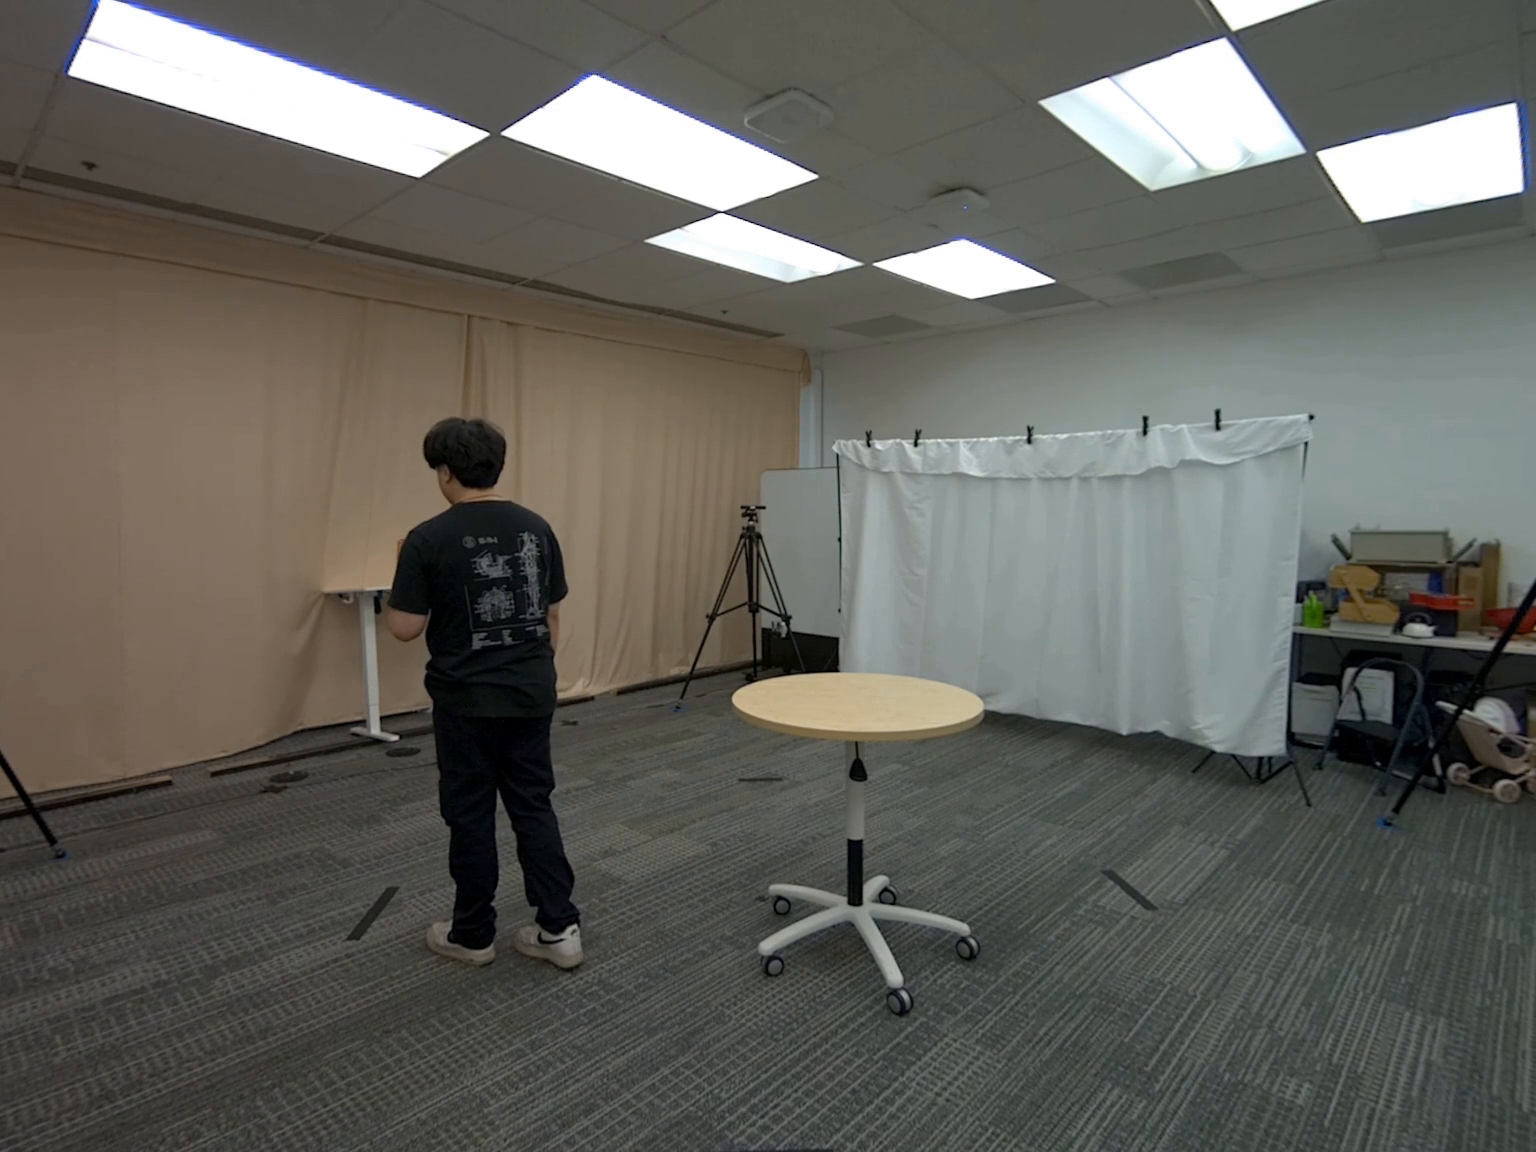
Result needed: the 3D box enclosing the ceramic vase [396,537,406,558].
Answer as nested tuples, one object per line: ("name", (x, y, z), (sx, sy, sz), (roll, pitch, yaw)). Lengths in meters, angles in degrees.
("ceramic vase", (-1.134, -0.007, 2.761), (0.154, 0.219, 0.139), (0, 5, -37))
